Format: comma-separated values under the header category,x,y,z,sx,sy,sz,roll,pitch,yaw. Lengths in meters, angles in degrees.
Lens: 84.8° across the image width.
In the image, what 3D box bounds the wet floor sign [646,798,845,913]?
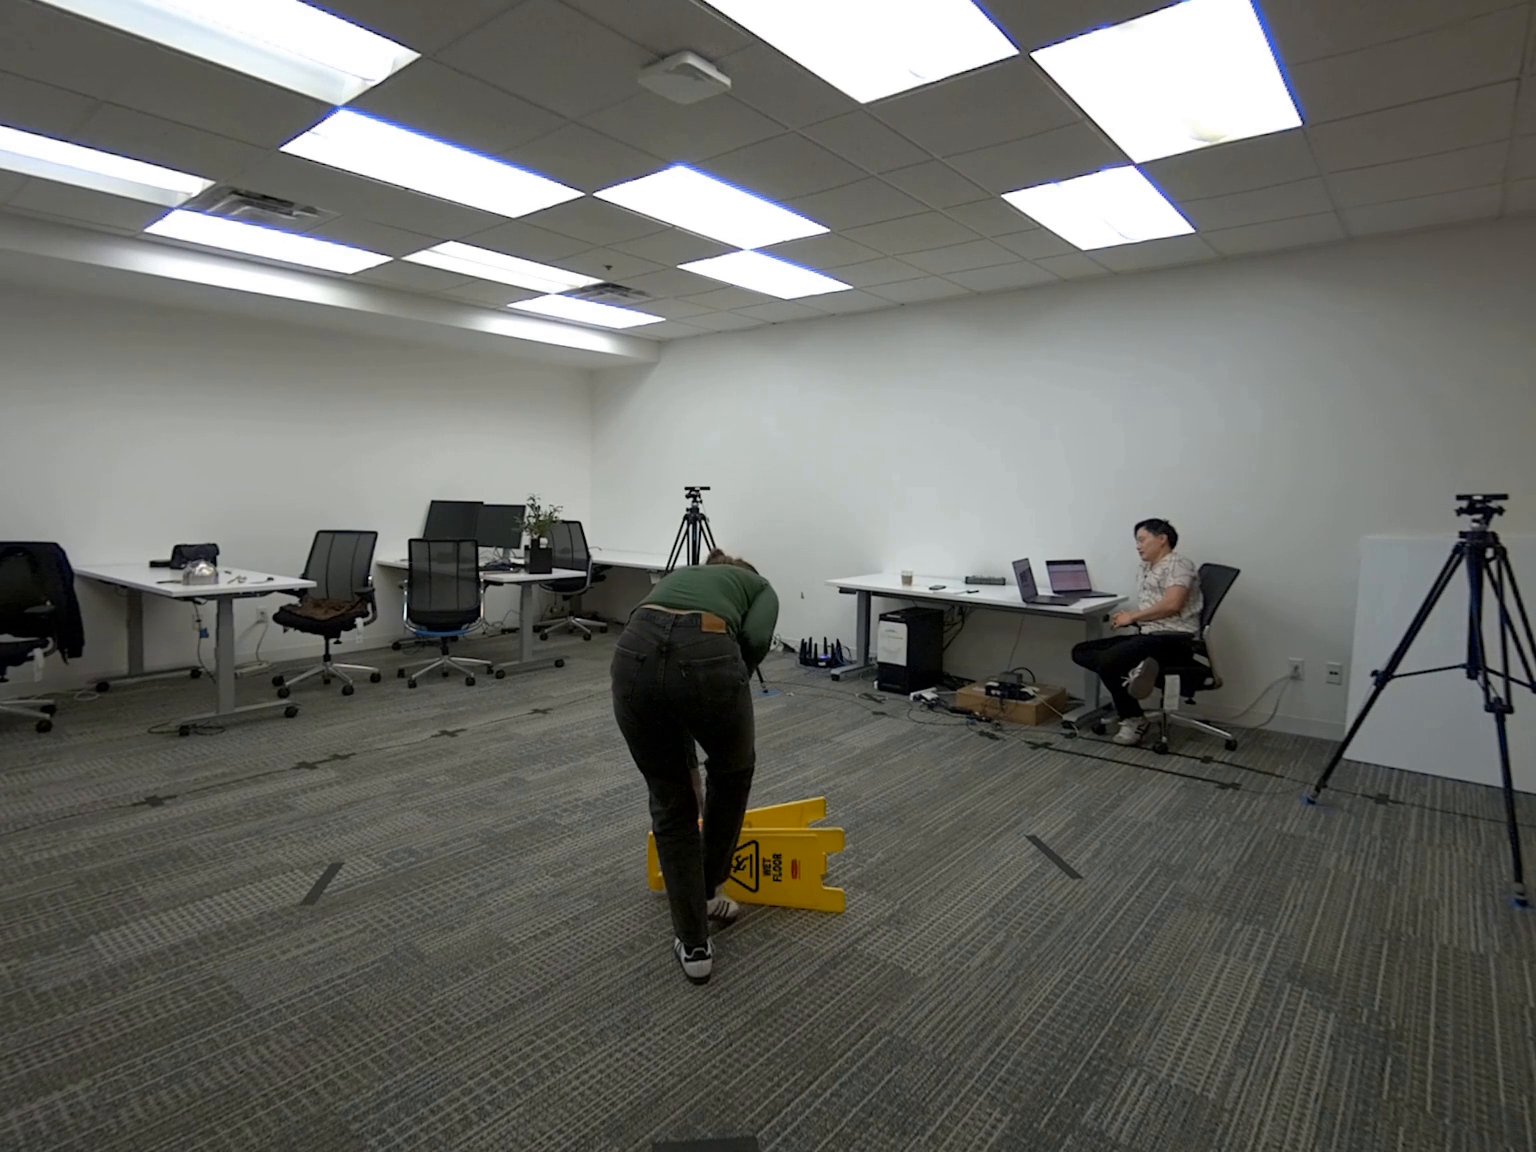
category,x,y,z,sx,sy,sz,roll,pitch,yaw
wet floor sign,-0.100,0.953,2.910,0.642,0.281,0.292,-2,4,-5
